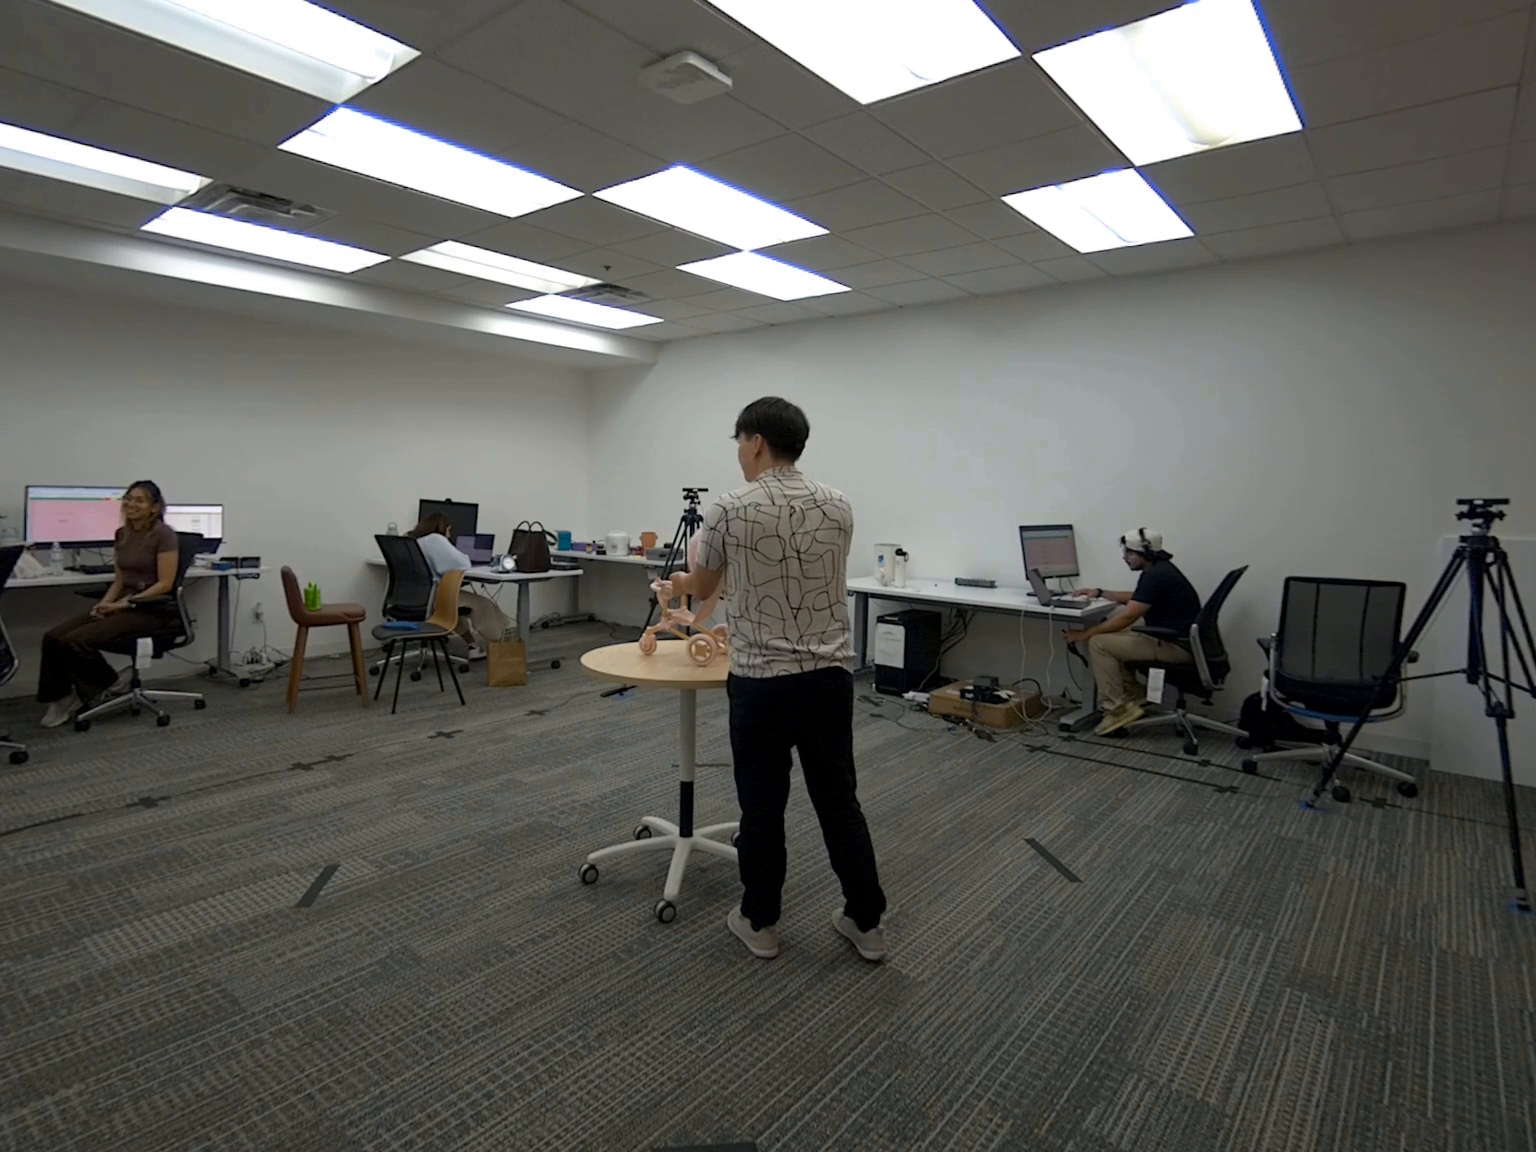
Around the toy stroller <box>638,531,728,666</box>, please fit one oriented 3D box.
[{"bbox_3d":[-0.267,0.069,3.024,0.350,0.532,0.276,18,8,19],"label":"toy stroller"}]
